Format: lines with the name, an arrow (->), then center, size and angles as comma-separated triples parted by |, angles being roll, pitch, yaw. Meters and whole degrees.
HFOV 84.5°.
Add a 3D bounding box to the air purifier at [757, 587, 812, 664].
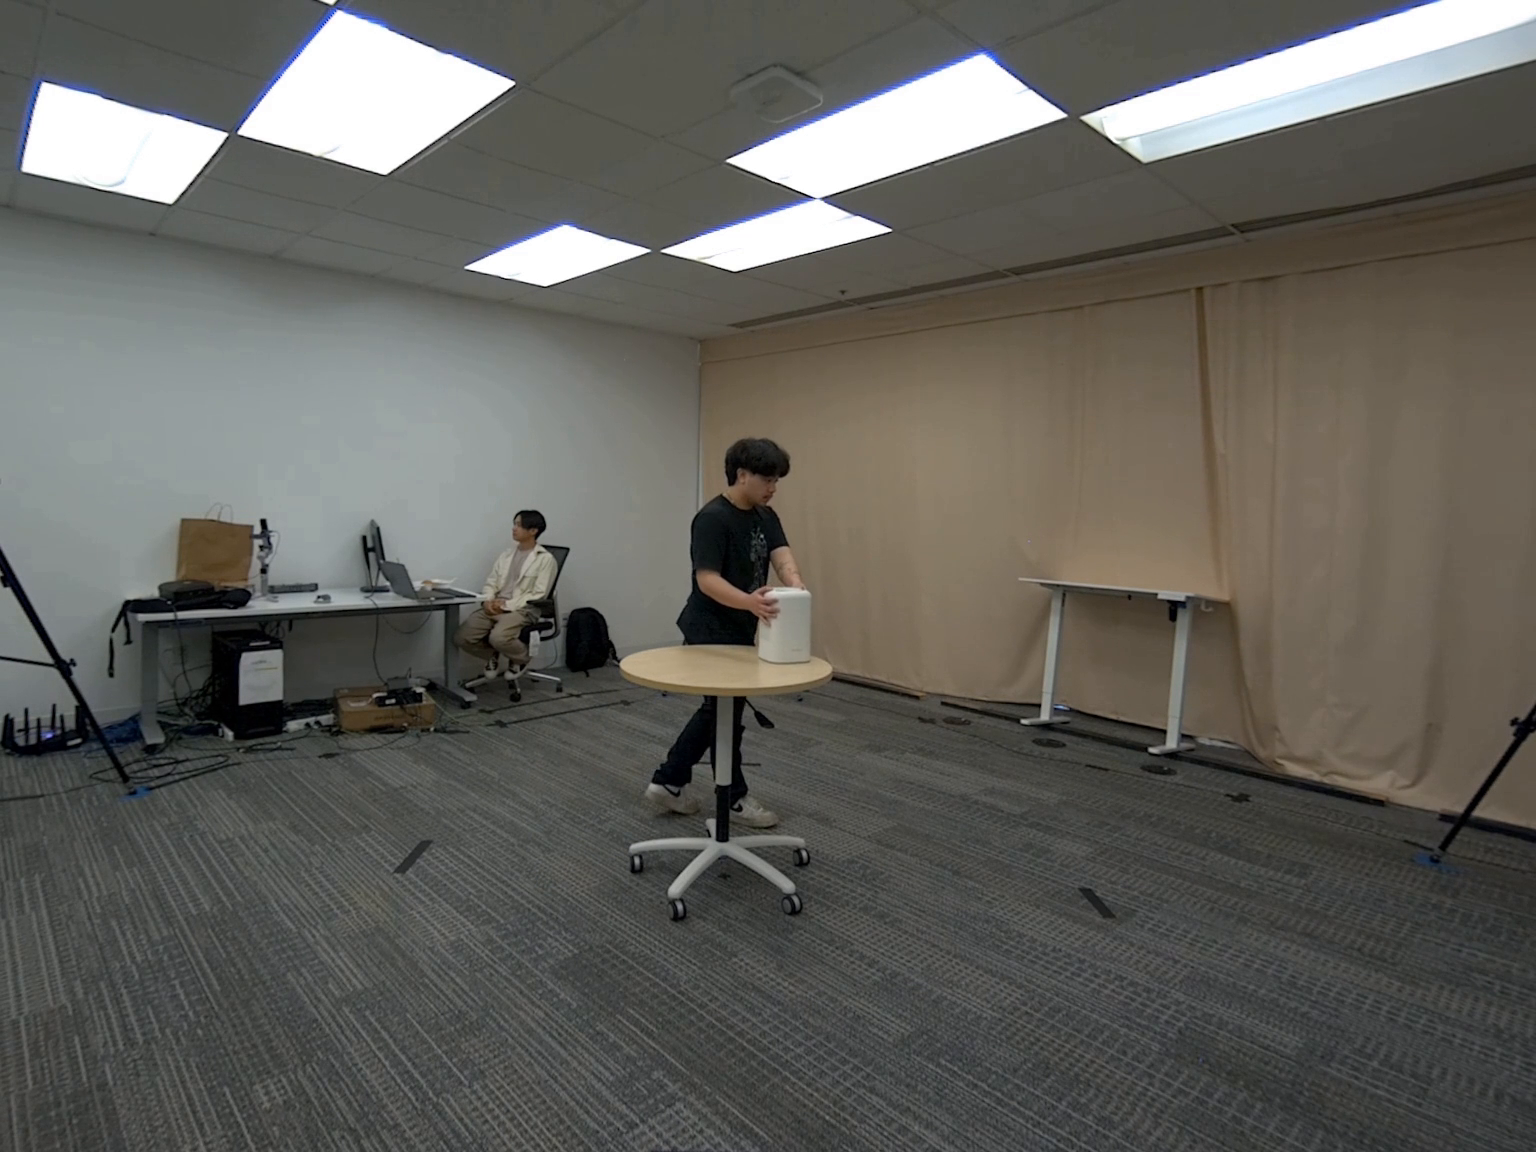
air purifier -> 0.054, 0.183, 3.154 | 0.168, 0.265, 0.175 | 1, 4, -26
